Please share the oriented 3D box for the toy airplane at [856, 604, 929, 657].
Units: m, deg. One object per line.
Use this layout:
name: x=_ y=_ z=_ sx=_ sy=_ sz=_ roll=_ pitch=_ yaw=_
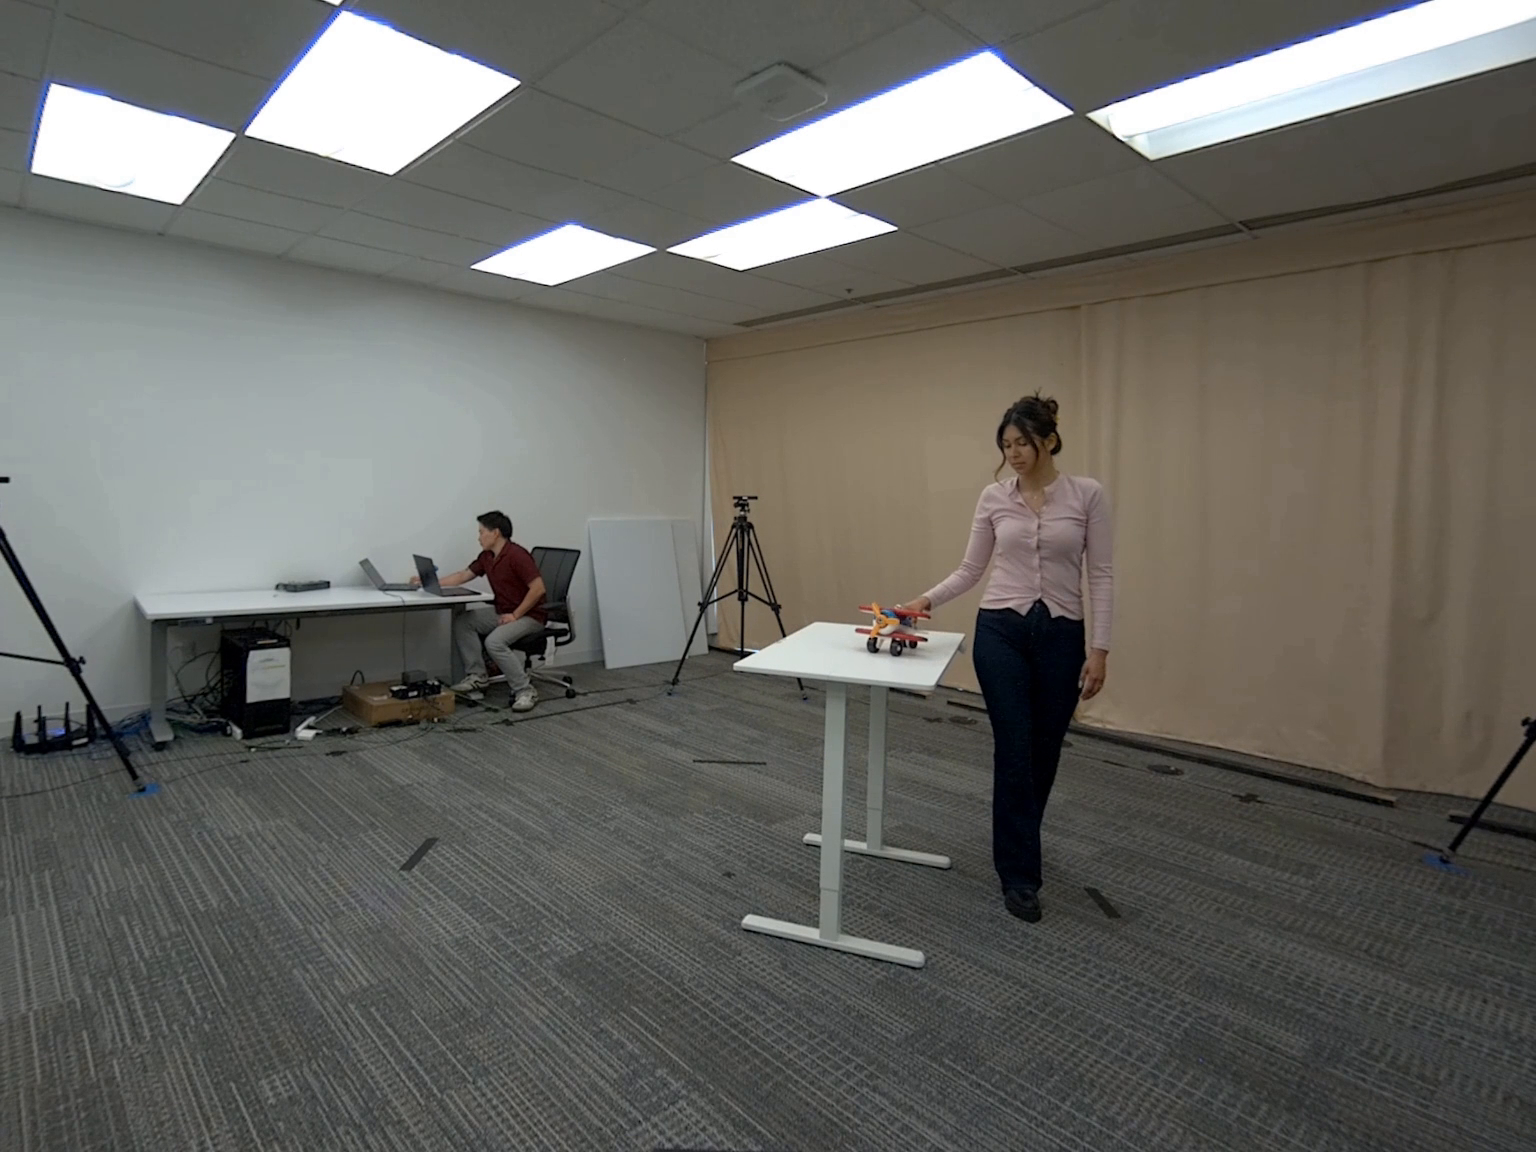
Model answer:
toy airplane: x=0.423 y=0.182 z=2.882 sx=0.253 sy=0.156 sz=0.258 roll=3 pitch=5 yaw=8
